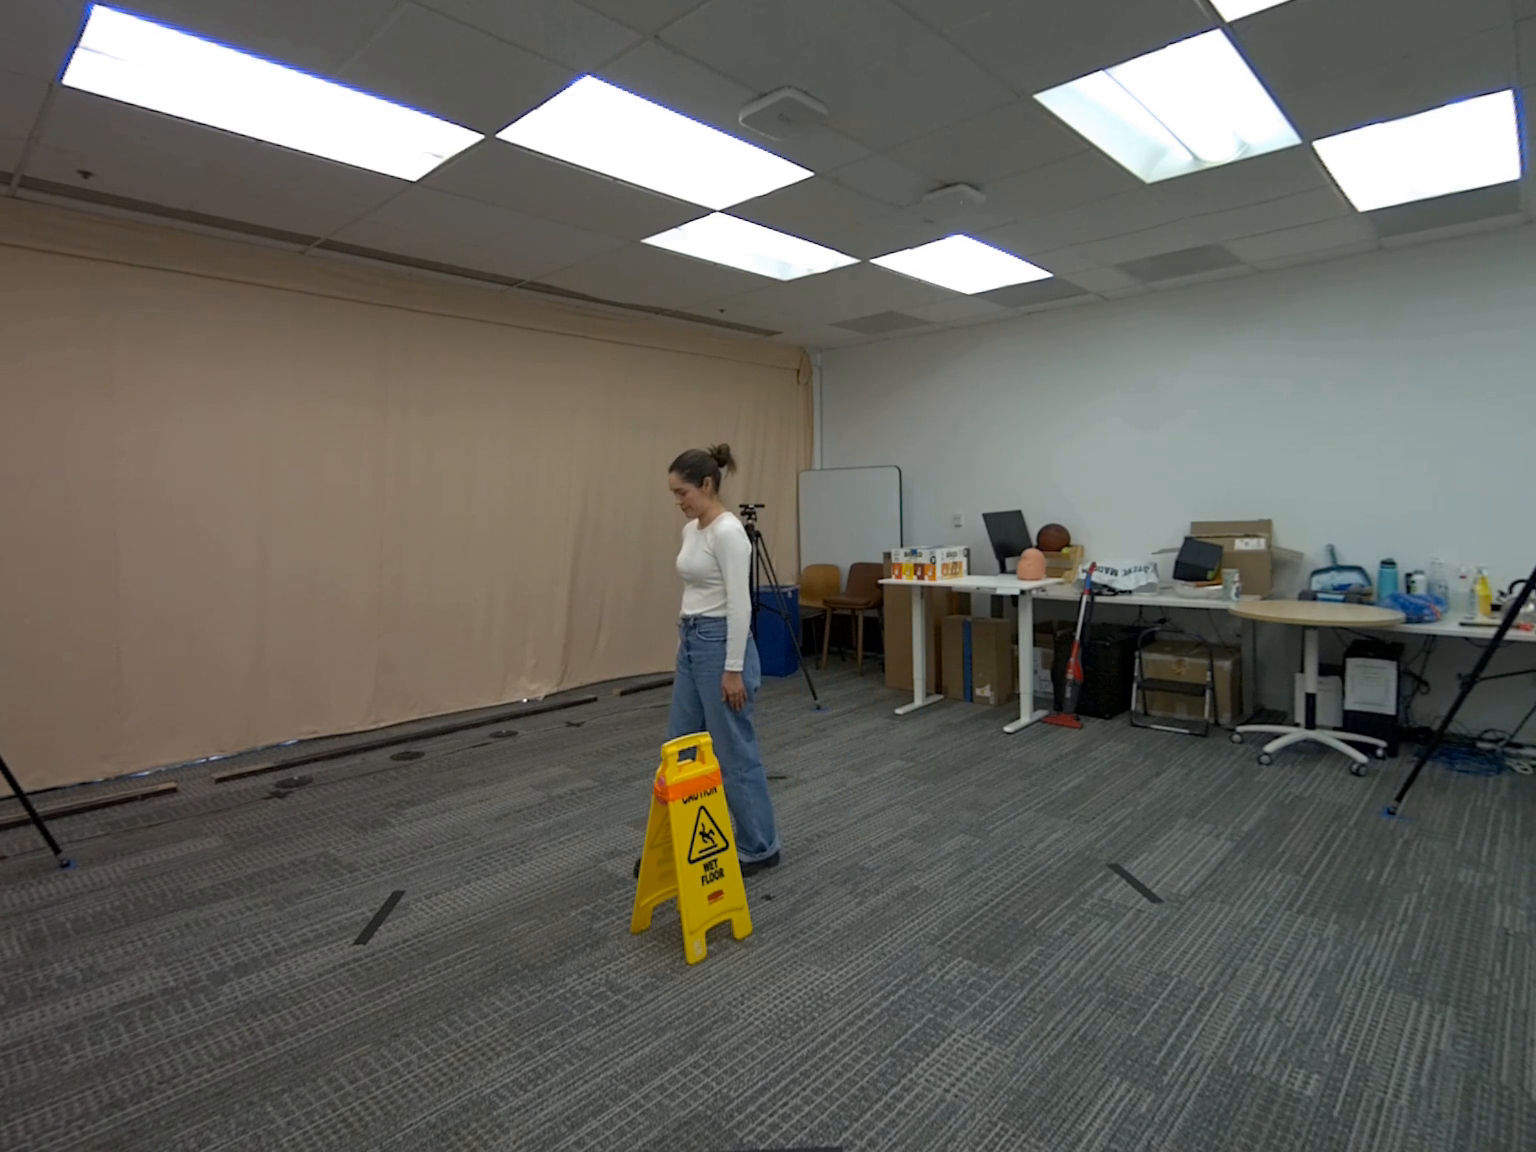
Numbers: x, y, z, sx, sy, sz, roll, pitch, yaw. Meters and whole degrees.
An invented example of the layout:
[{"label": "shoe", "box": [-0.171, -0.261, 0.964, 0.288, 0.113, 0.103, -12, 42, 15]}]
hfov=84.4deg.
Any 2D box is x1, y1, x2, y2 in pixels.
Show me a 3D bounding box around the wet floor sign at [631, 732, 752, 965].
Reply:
[{"label": "wet floor sign", "box": [-0.260, 0.838, 2.731, 0.299, 0.645, 0.273, 1, 3, 43]}]
